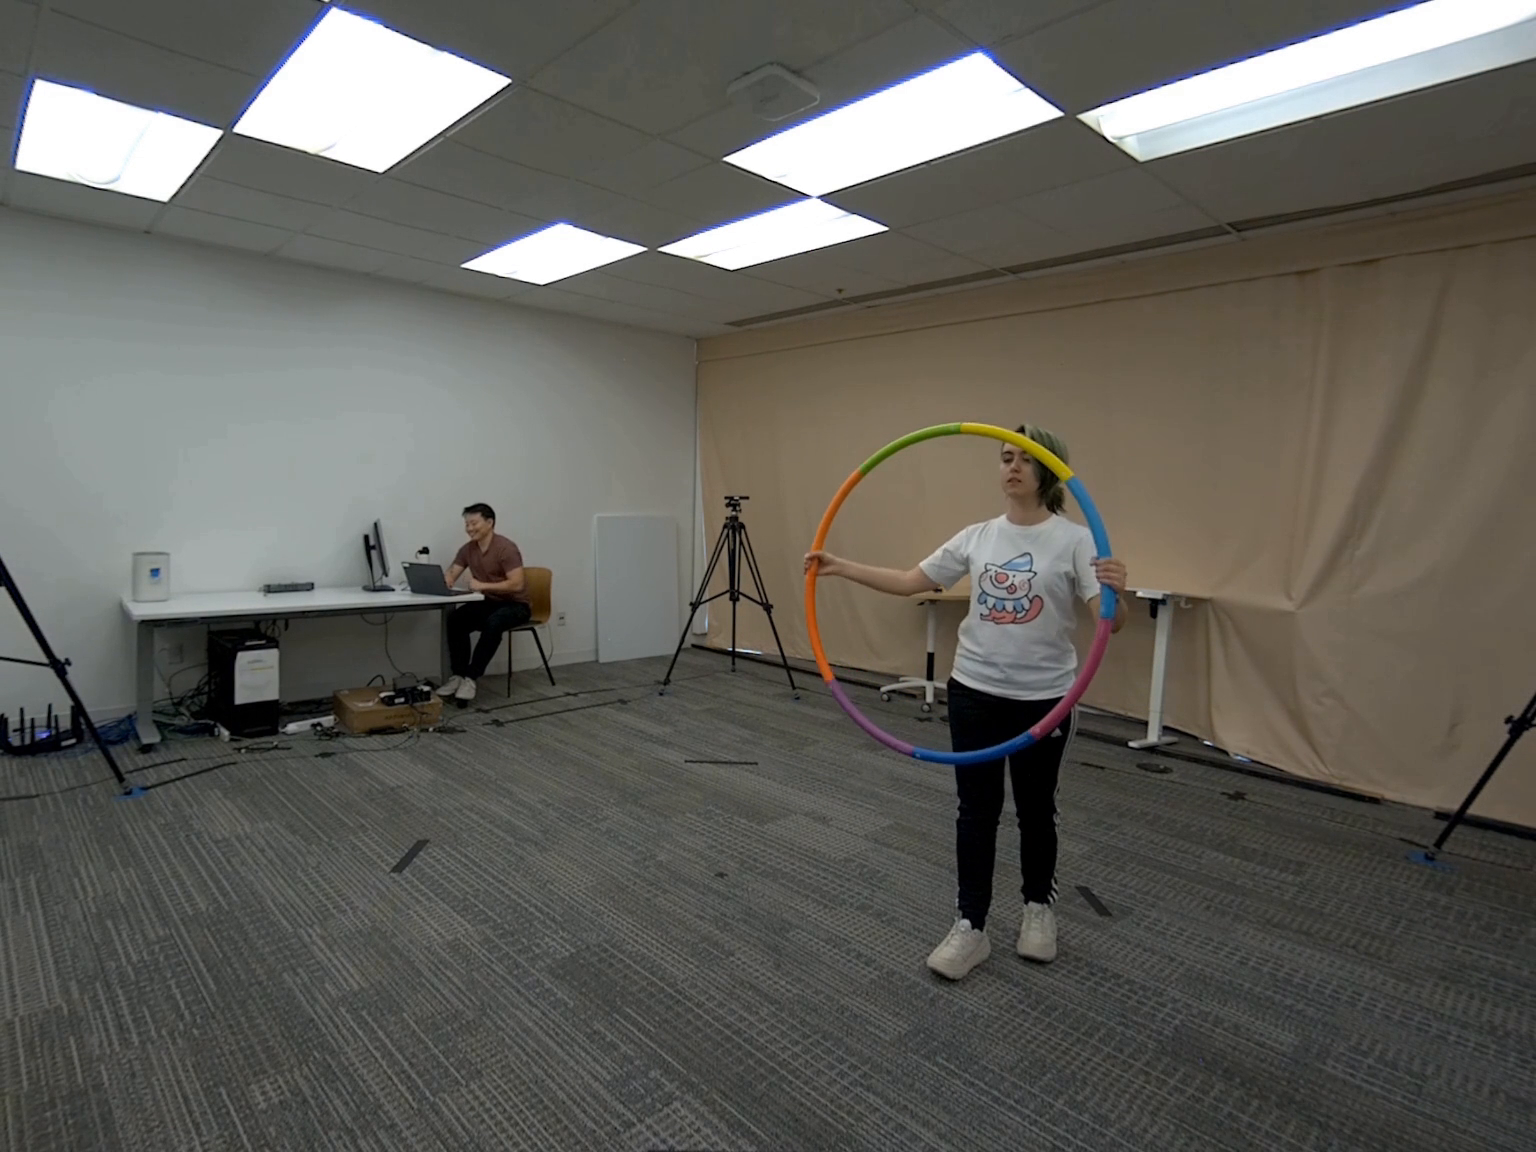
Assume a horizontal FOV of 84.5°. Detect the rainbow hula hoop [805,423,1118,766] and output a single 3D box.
[{"bbox_3d":[0.494,0.044,2.442,1.004,0.979,0.034,6,-2,44],"label":"rainbow hula hoop"}]
